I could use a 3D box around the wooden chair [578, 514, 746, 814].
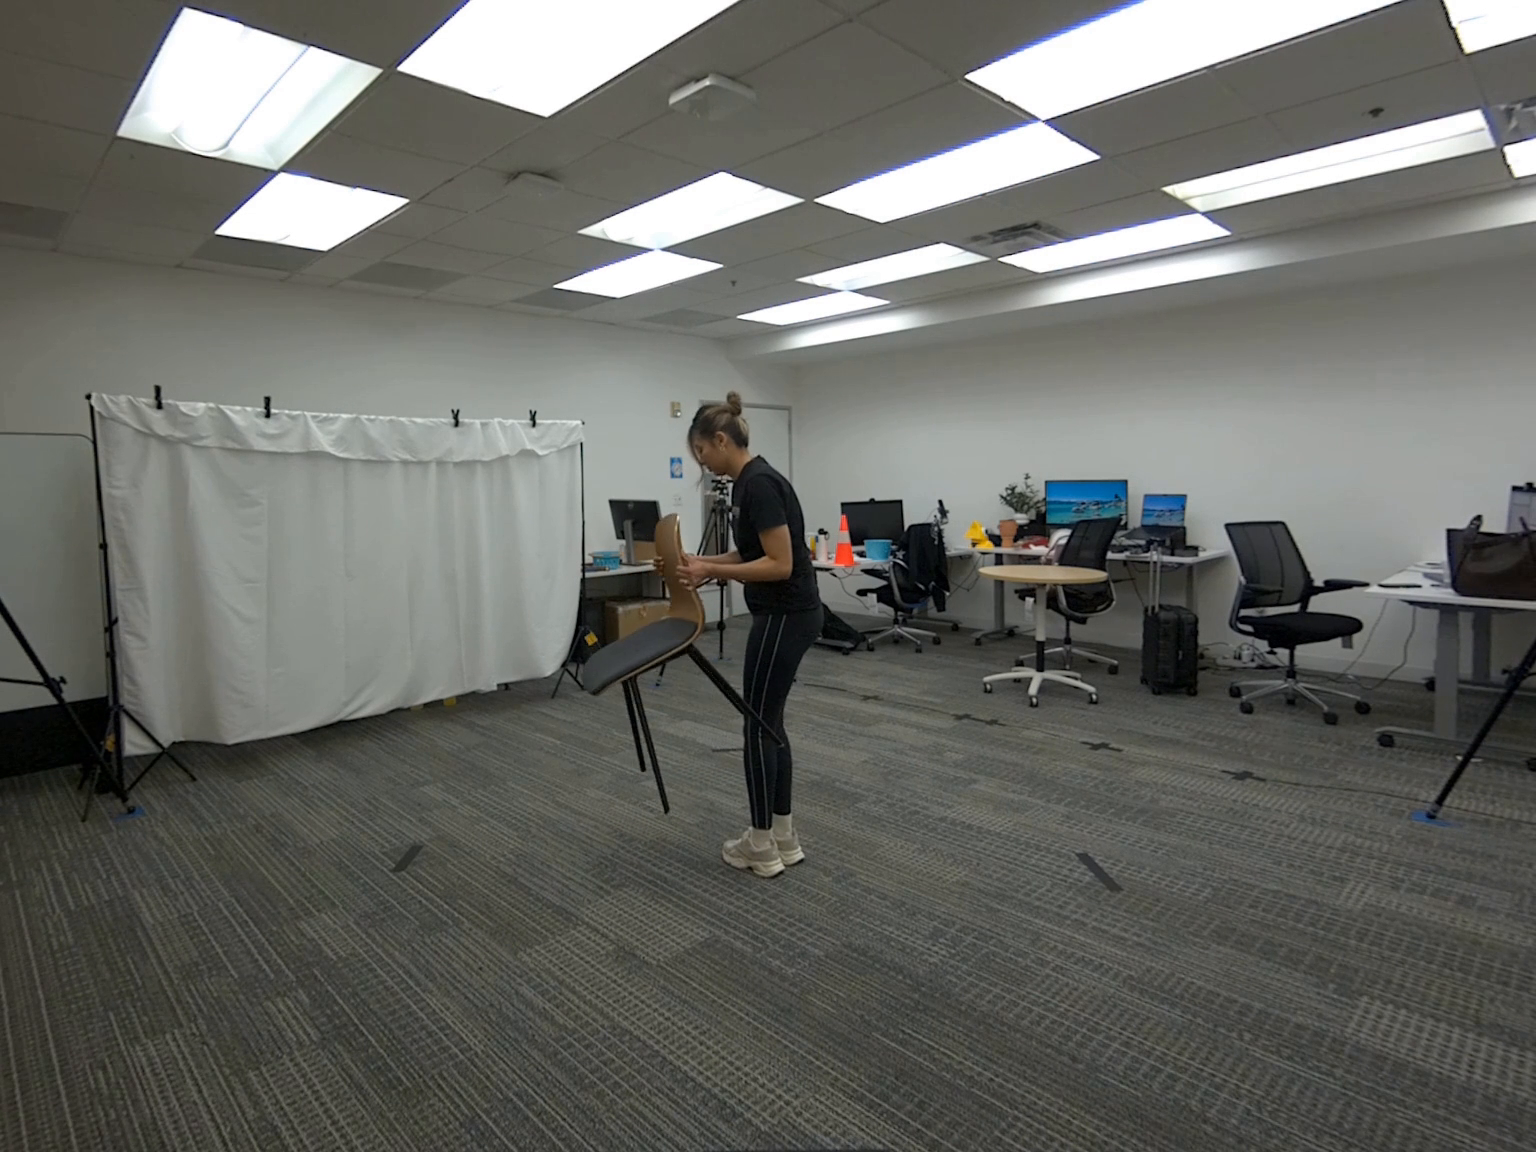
[{"bbox_3d":[-0.398,0.289,2.981,0.519,0.868,0.487,-23,9,-14],"label":"wooden chair"}]
